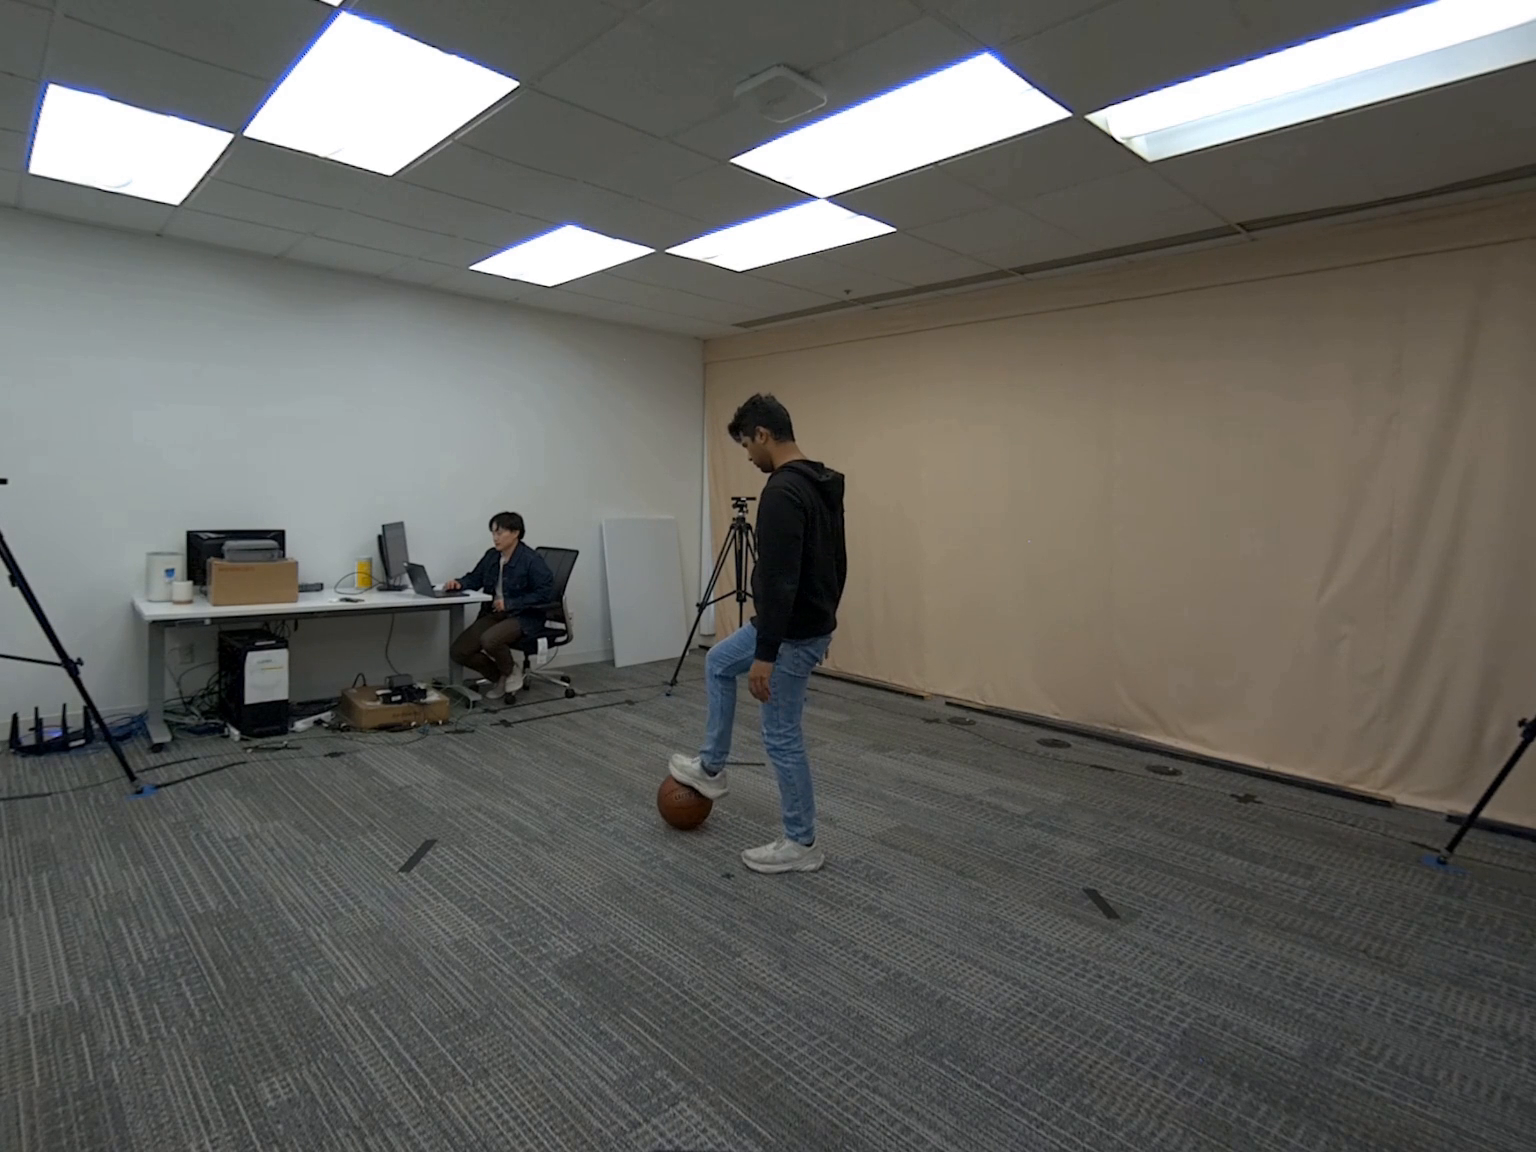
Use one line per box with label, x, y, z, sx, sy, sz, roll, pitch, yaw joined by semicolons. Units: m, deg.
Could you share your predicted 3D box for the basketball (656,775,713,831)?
basketball;-0.362;0.942;3.572;0.236;0.235;0.237;1;4;-1
